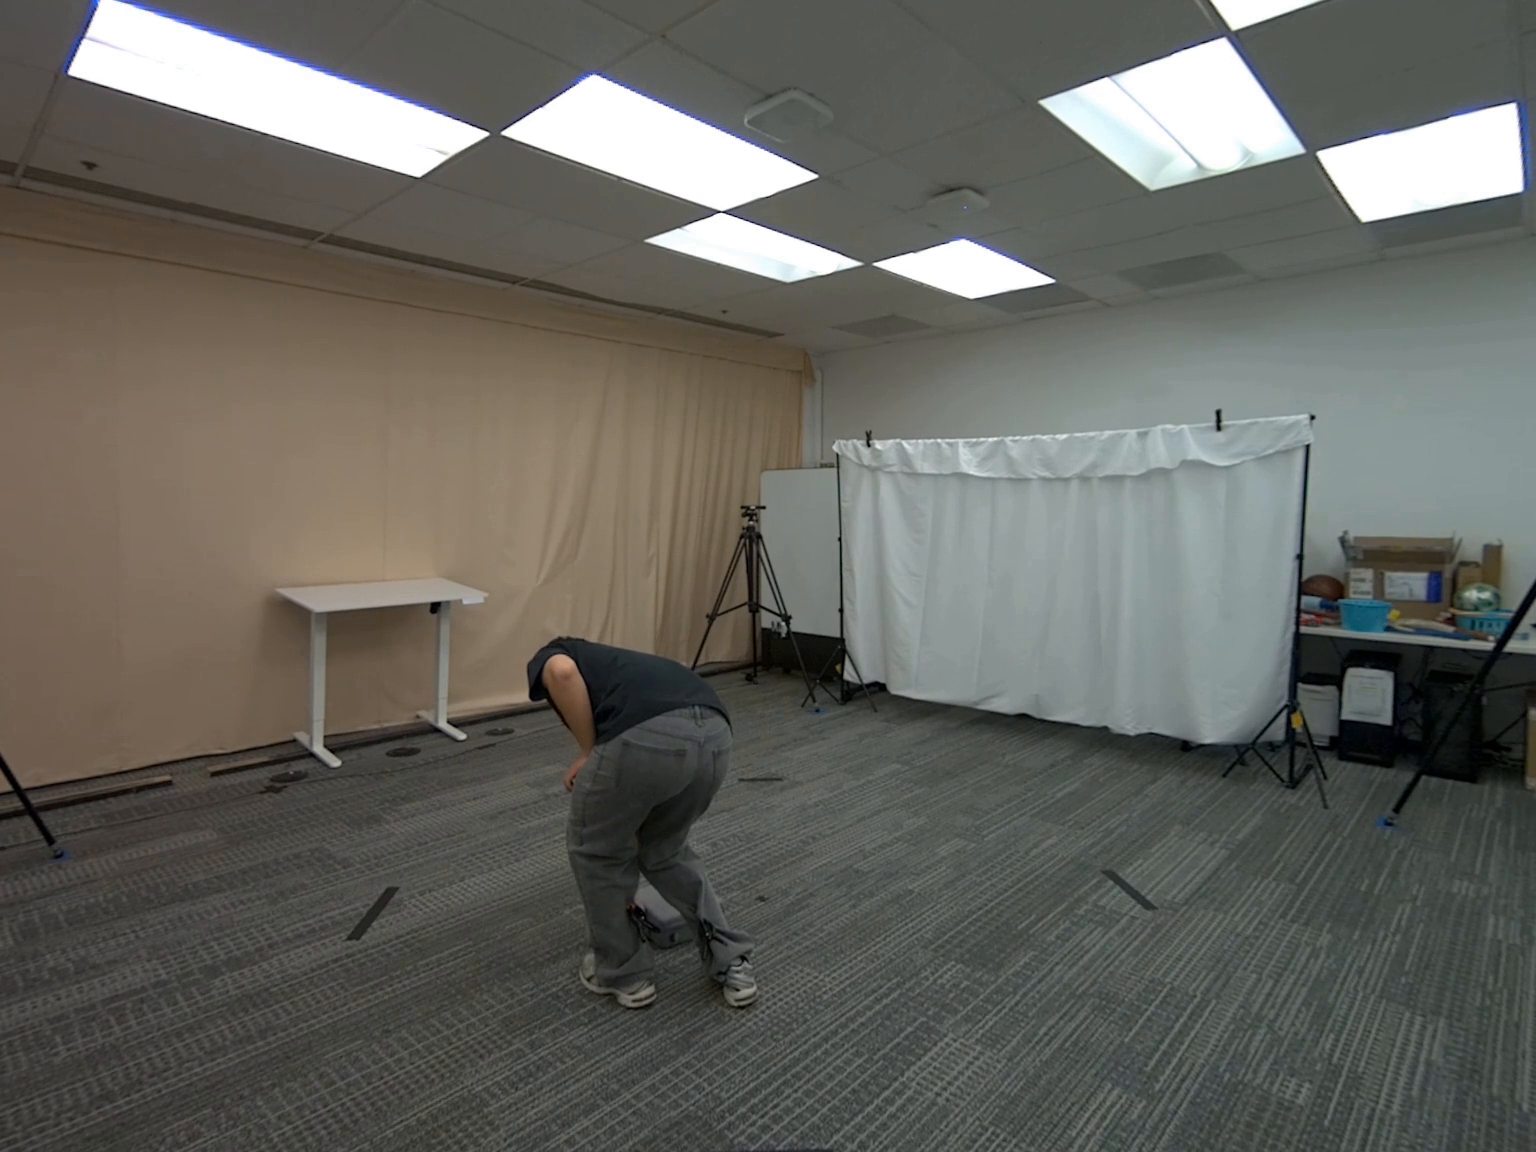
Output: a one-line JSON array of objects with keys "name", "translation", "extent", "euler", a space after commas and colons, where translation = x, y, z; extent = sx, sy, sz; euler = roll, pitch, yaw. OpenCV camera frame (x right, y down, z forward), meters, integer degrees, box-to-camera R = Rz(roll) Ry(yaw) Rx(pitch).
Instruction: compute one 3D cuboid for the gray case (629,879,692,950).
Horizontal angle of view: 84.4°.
[{"name": "gray case", "translation": [-0.307, 1.102, 2.782], "extent": [0.279, 0.103, 0.271], "euler": [-4, 7, -33]}]
